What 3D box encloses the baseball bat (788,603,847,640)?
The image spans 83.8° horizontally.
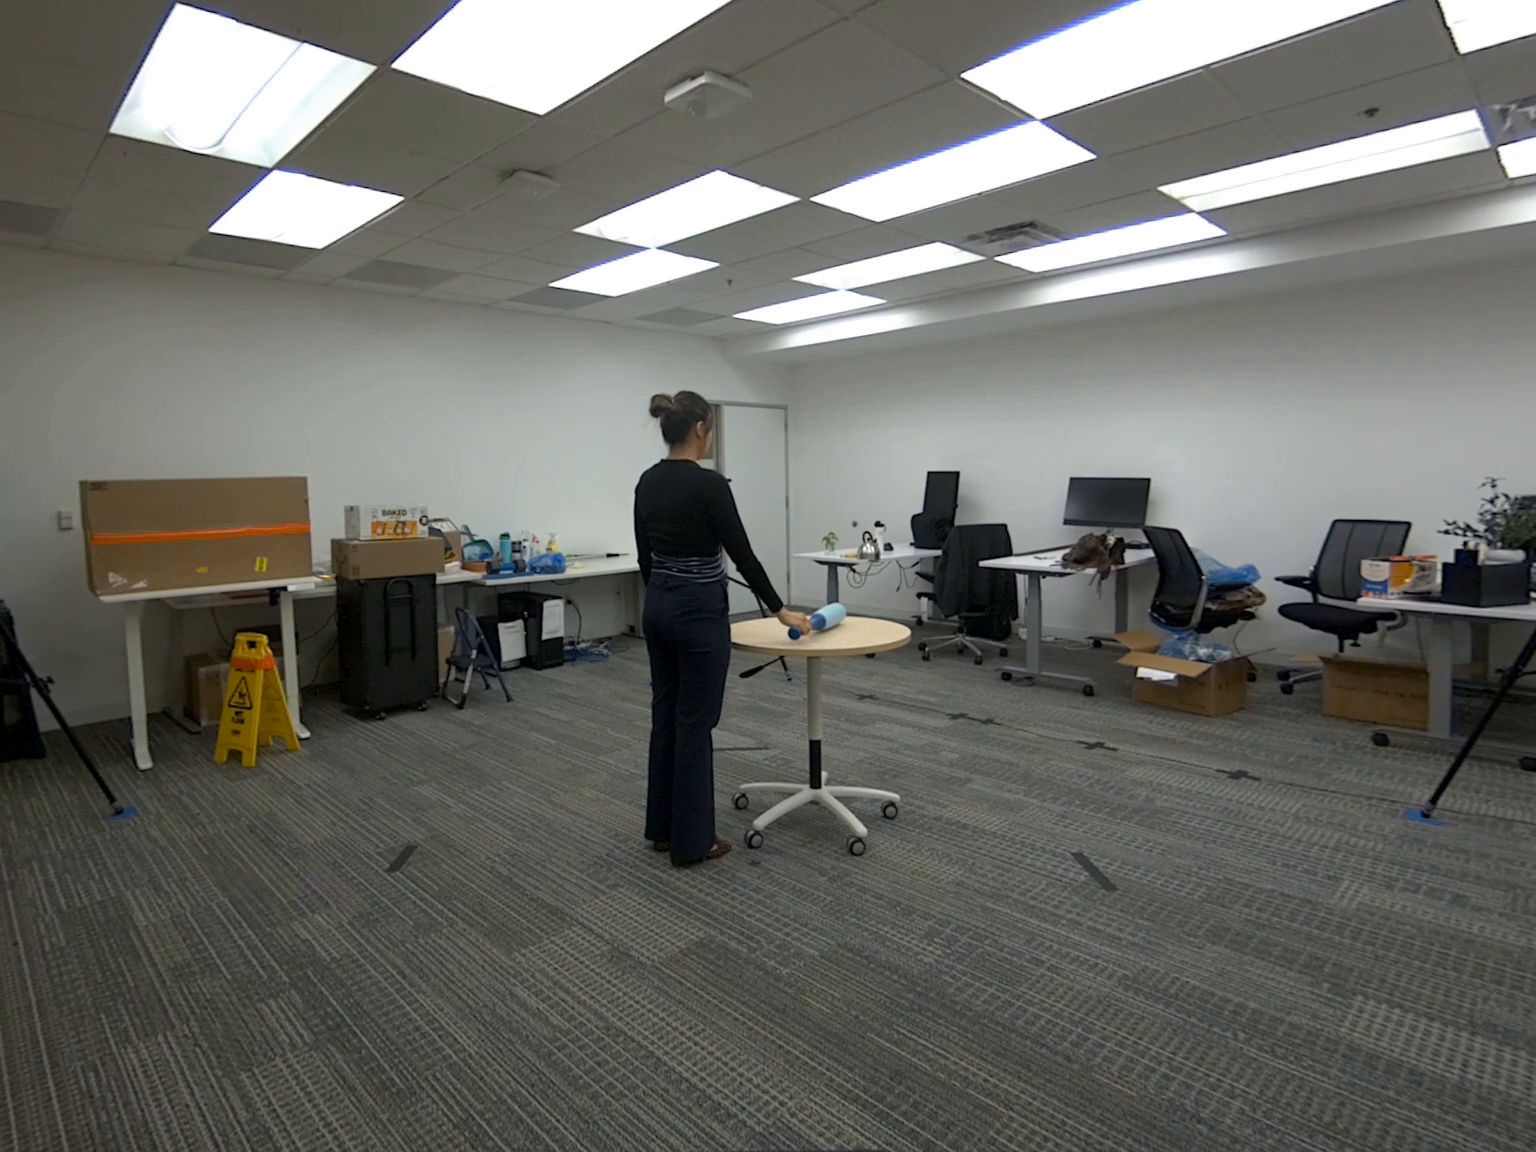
[{"bbox_3d":[0.197,0.181,3.353,0.091,0.089,0.535,1,6,19],"label":"baseball bat"}]
